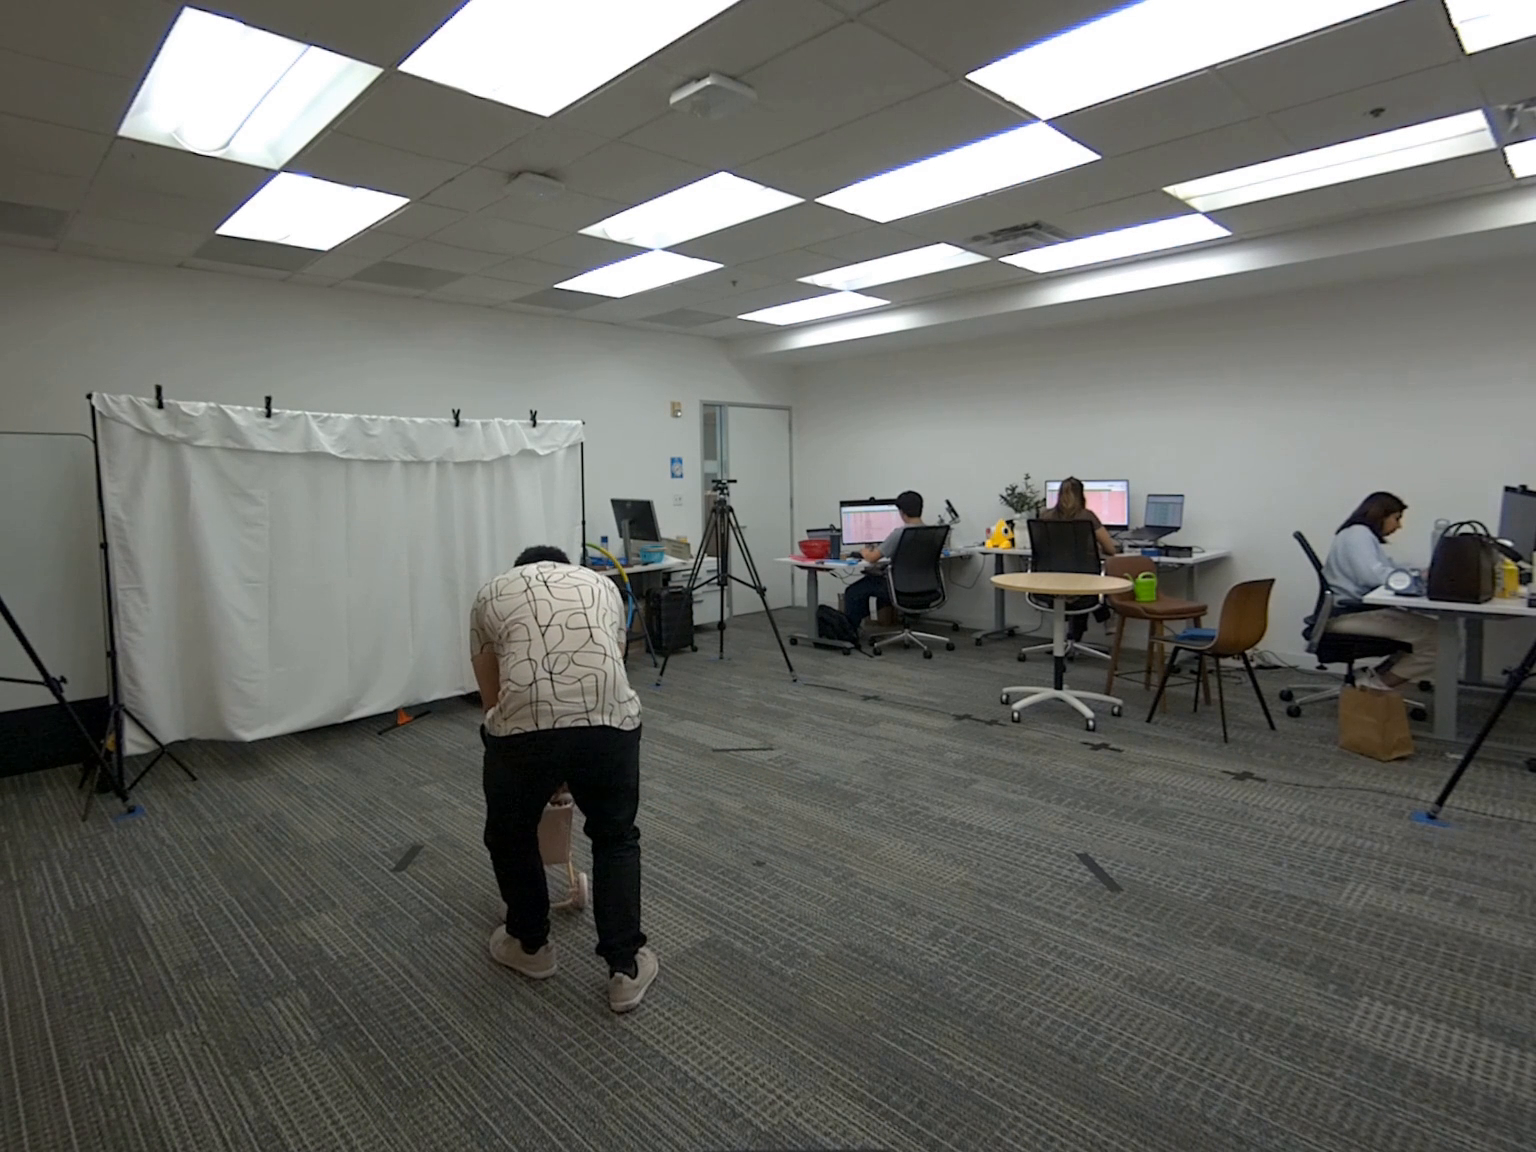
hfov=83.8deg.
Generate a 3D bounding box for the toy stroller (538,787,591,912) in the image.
[{"bbox_3d":[-0.746,0.870,2.835,0.278,0.527,0.351,-2,20,-15],"label":"toy stroller"}]
